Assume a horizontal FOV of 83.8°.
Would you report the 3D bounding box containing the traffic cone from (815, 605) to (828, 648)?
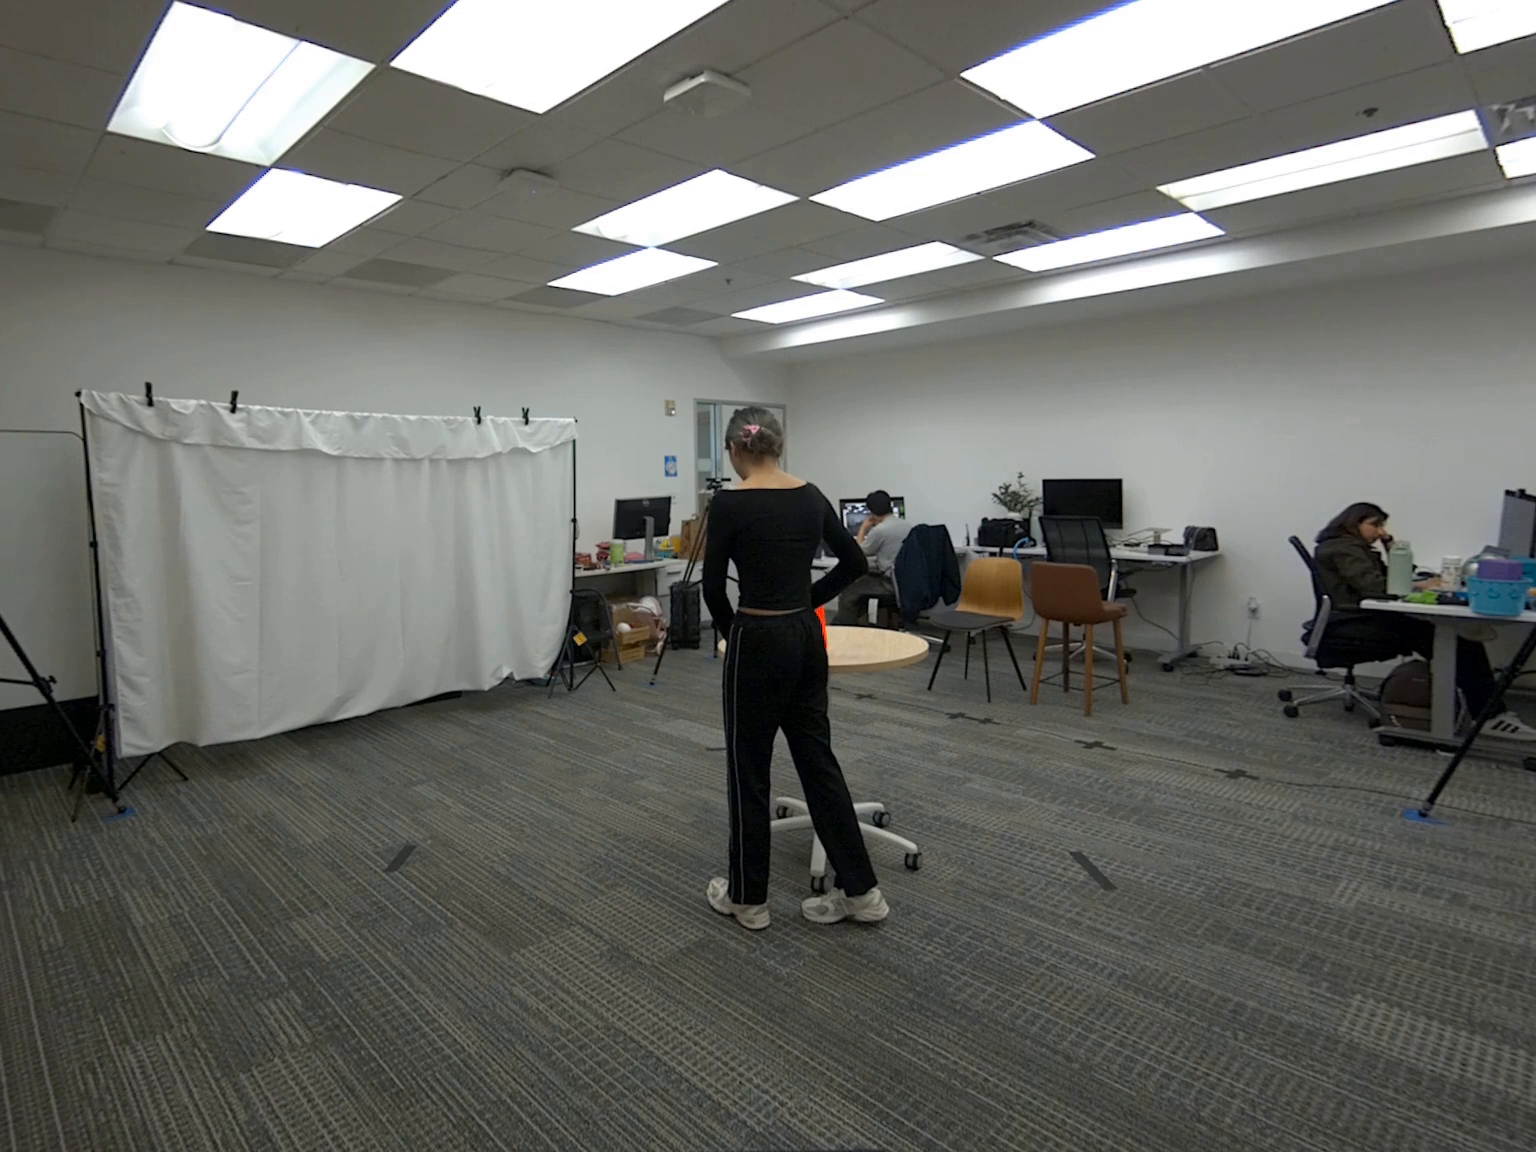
[{"bbox_3d":[0.028,0.222,2.903,0.209,0.201,0.380,4,21,30],"label":"traffic cone"}]
